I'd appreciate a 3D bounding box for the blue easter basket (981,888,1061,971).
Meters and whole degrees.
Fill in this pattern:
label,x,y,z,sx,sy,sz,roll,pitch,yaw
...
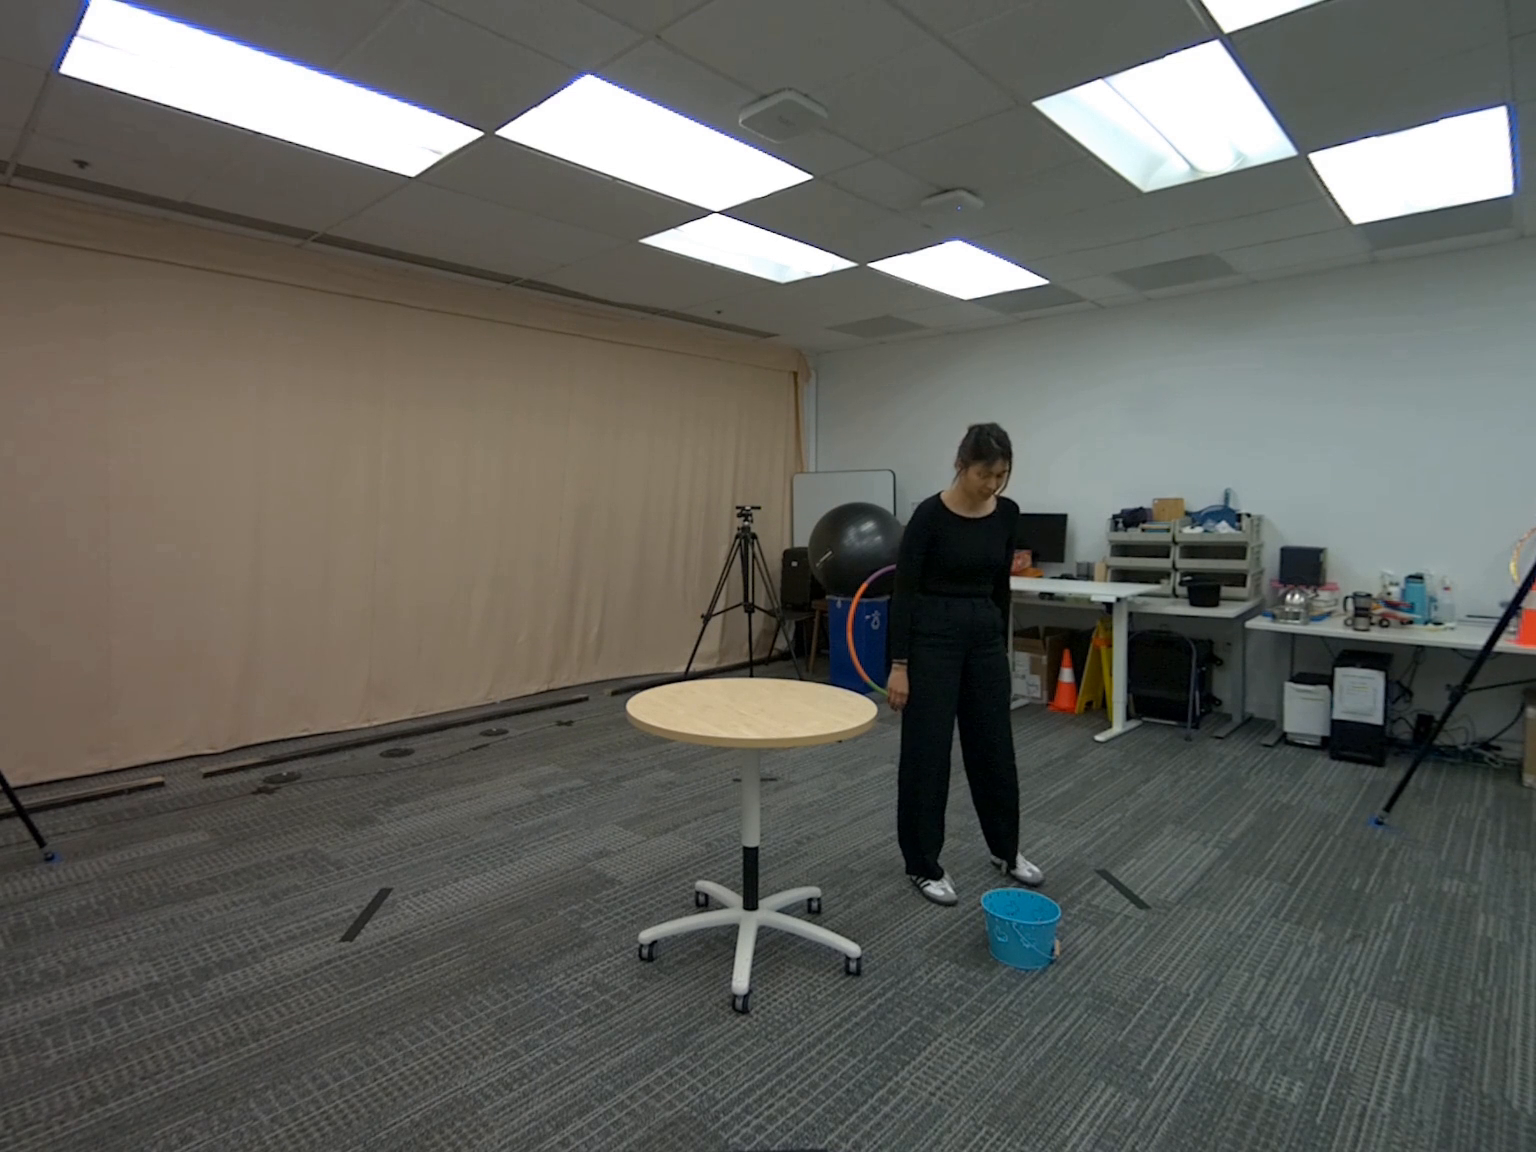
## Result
label,x,y,z,sx,sy,sz,roll,pitch,yaw
blue easter basket,0.790,1.097,2.606,0.243,0.155,0.244,0,5,-2
